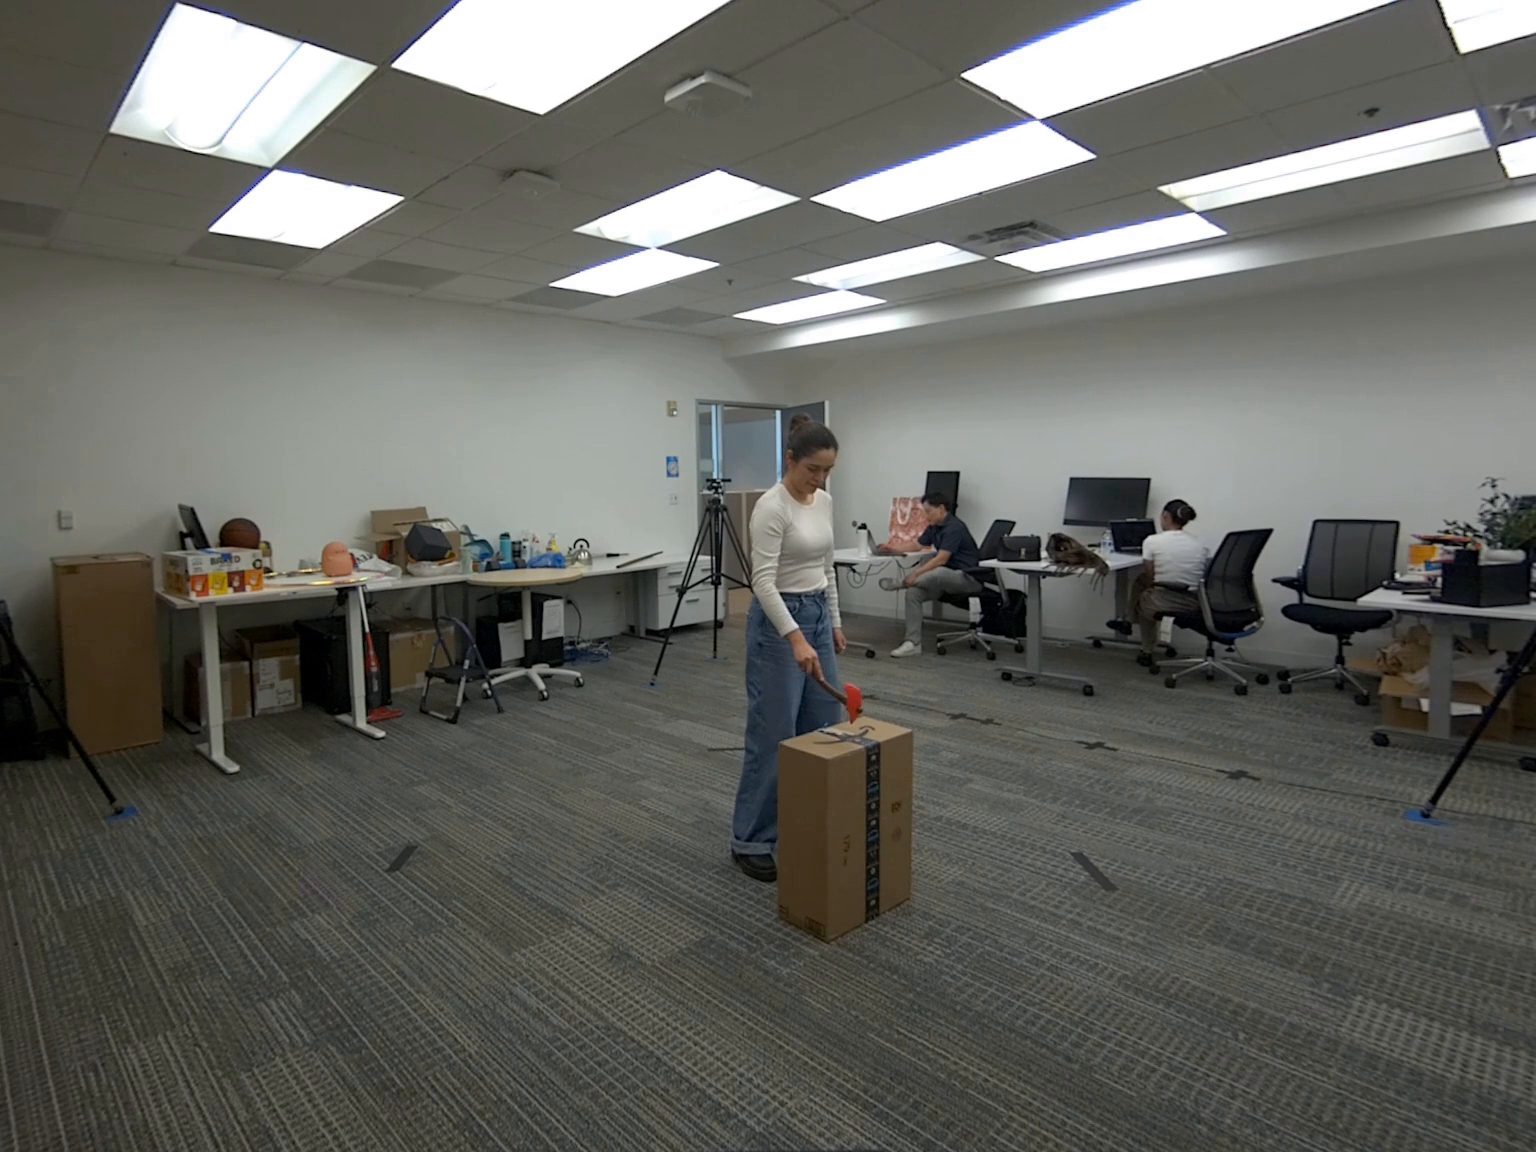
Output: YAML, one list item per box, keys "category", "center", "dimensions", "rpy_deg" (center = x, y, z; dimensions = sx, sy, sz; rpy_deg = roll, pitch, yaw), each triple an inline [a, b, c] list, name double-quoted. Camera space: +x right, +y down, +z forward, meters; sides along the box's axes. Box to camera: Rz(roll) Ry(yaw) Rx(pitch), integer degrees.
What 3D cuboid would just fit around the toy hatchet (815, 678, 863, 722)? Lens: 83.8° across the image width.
- category: "toy hatchet"
  center: [0.208, 0.352, 2.746]
  dimensions: [0.029, 0.129, 0.279]
  rpy_deg: [-15, 51, -39]
